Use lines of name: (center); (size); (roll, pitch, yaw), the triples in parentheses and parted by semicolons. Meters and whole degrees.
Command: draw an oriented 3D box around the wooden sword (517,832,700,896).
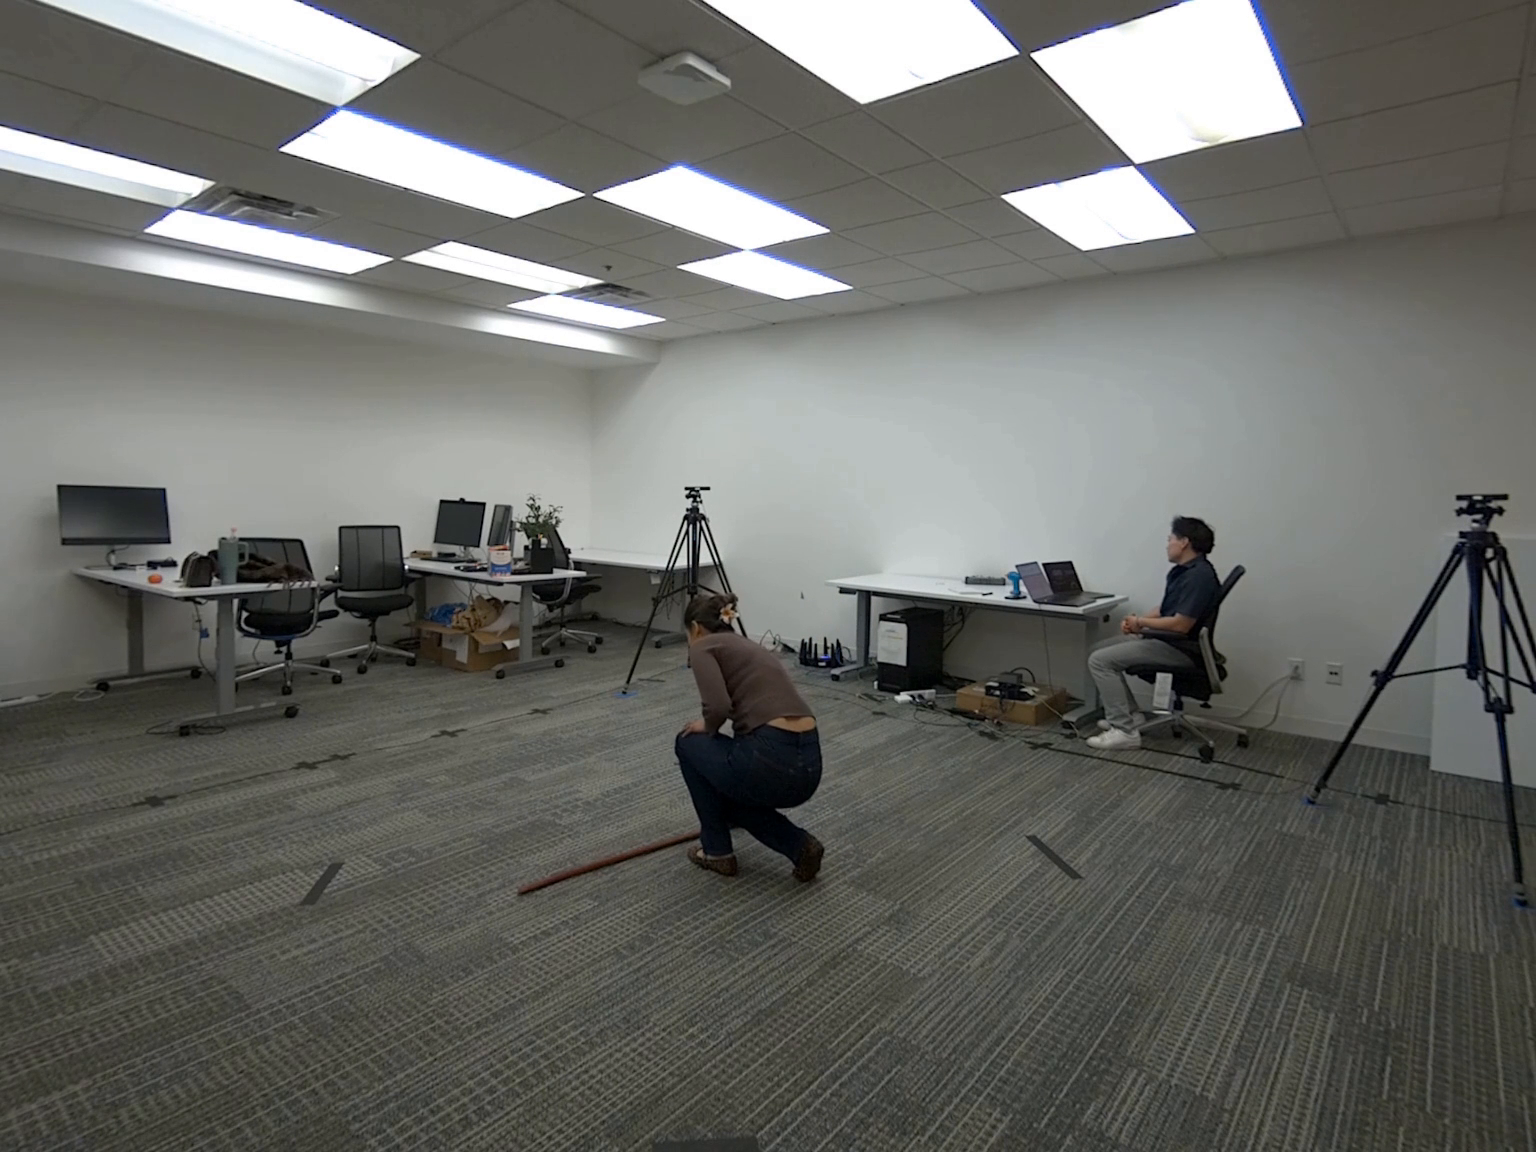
wooden sword: (-0.493, 1.027, 3.206); (0.995, 0.051, 0.025); (-5, 45, -42)
